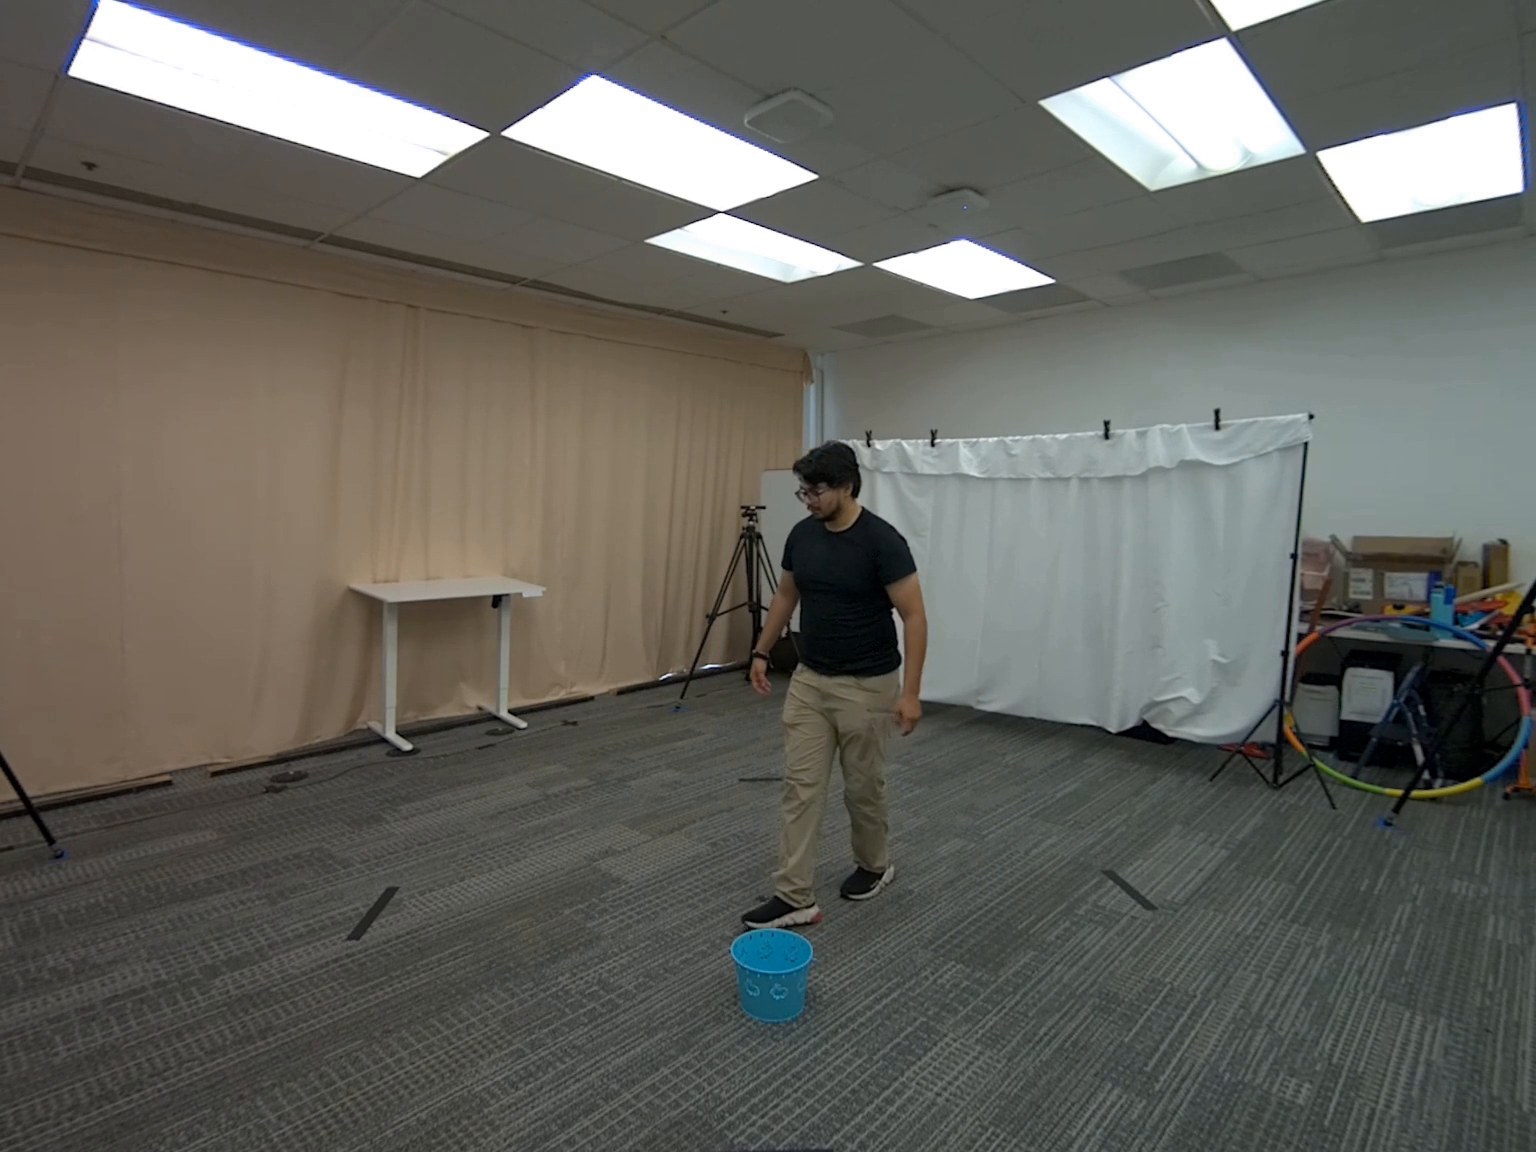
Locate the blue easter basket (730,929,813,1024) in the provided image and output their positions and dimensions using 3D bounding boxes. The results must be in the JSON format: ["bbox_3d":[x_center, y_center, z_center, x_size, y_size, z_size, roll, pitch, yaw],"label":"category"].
[{"bbox_3d":[0.018,1.119,2.353,0.243,0.155,0.244,0,5,-2],"label":"blue easter basket"}]
